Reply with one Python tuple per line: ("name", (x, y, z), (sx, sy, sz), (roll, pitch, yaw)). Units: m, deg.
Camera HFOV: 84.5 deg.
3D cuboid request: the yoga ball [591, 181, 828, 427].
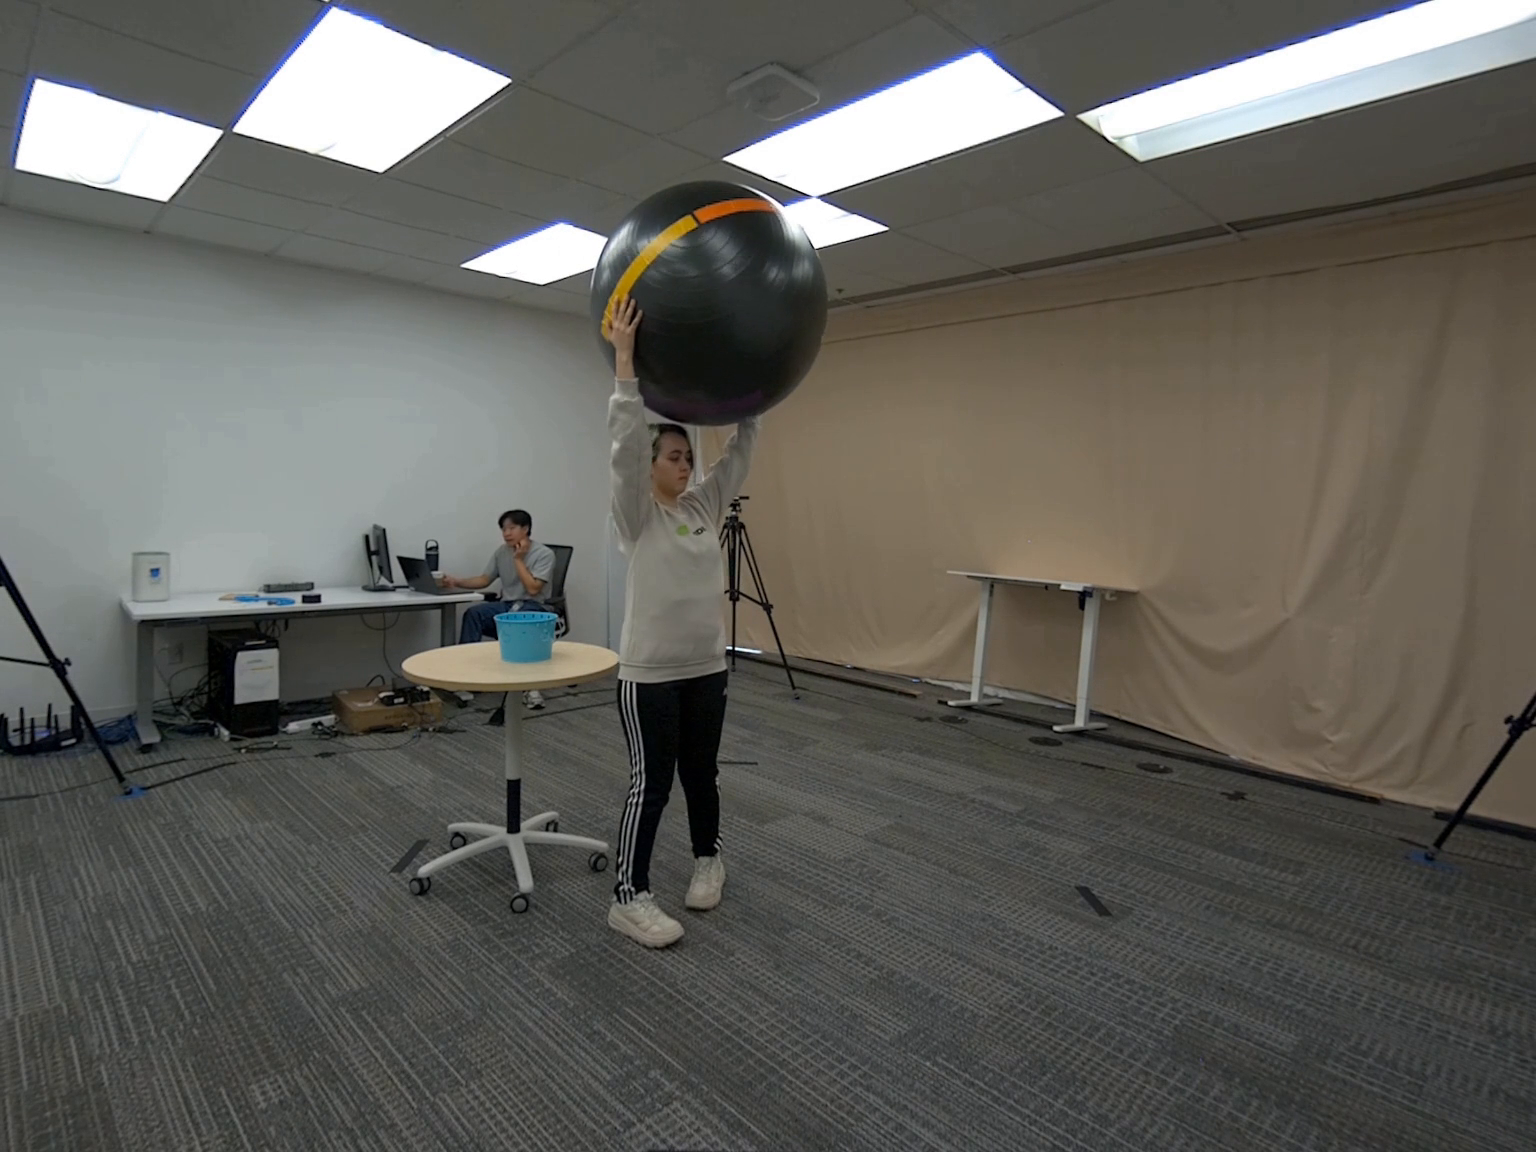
("yoga ball", (-0.188, -0.858, 2.707), (0.757, 0.756, 0.761), (1, 4, -1))
